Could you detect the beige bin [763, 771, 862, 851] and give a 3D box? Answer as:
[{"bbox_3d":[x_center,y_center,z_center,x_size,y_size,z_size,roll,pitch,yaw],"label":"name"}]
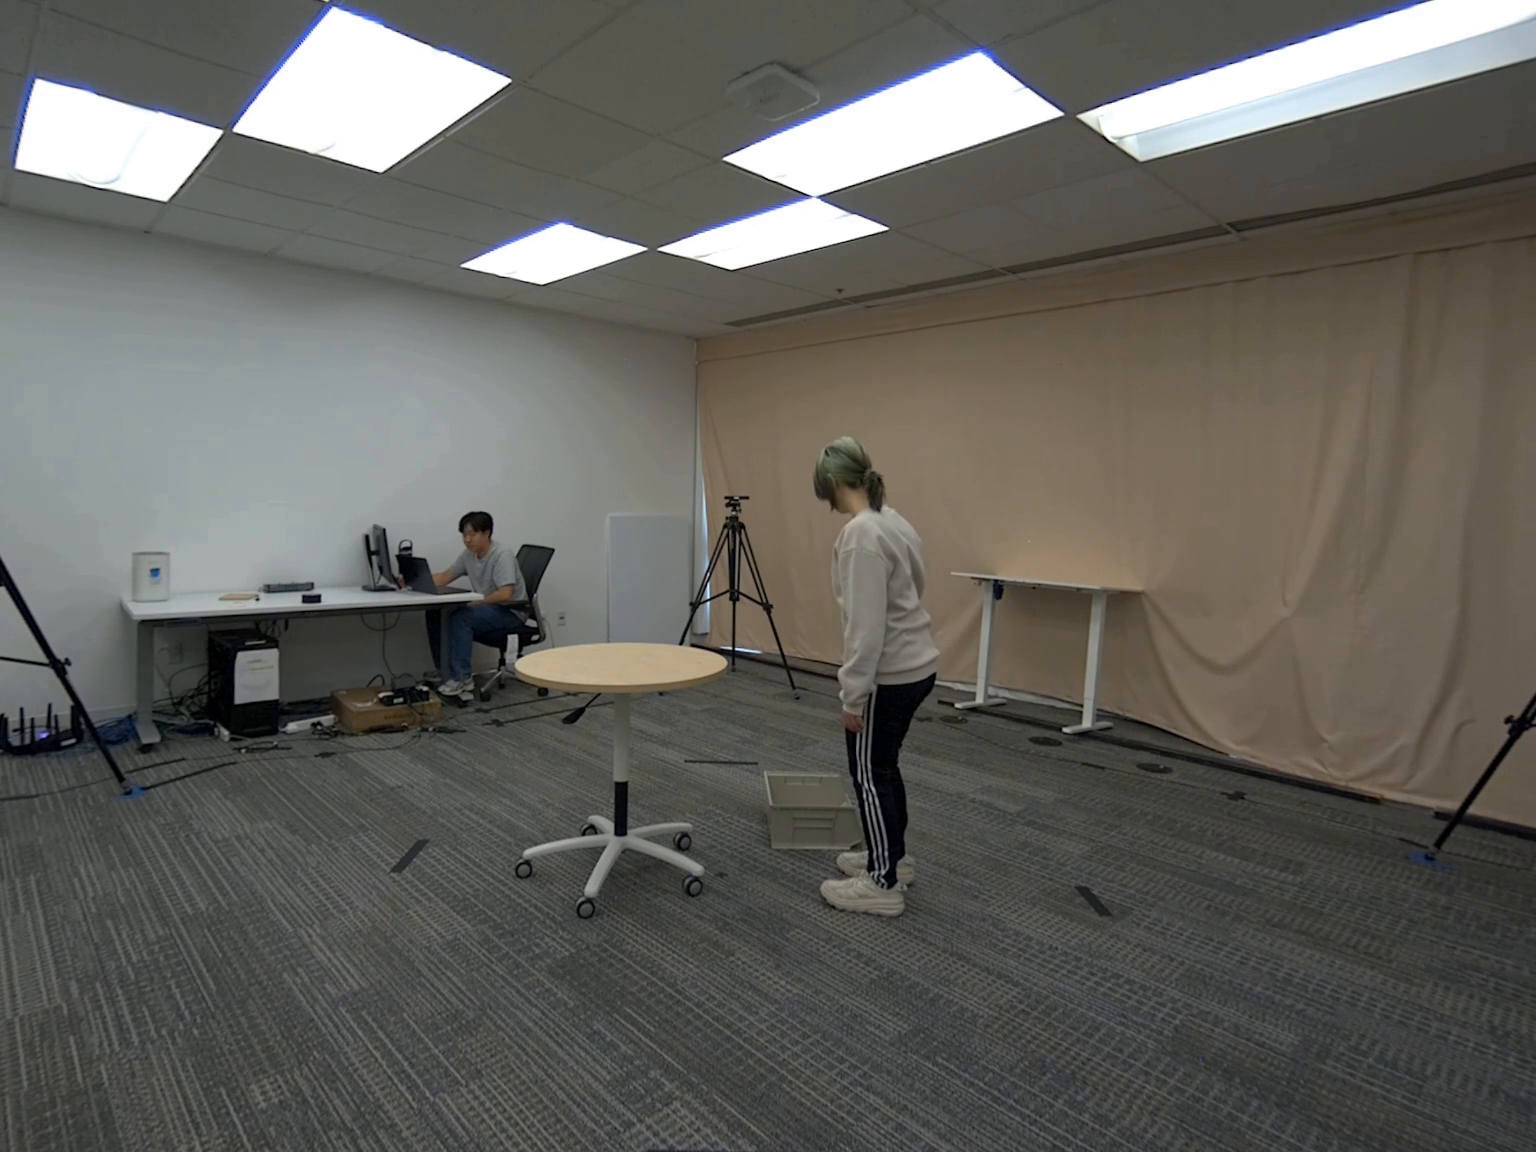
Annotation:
[{"bbox_3d":[0.173,0.985,3.555,0.376,0.188,0.424,0,5,-3],"label":"beige bin"}]
